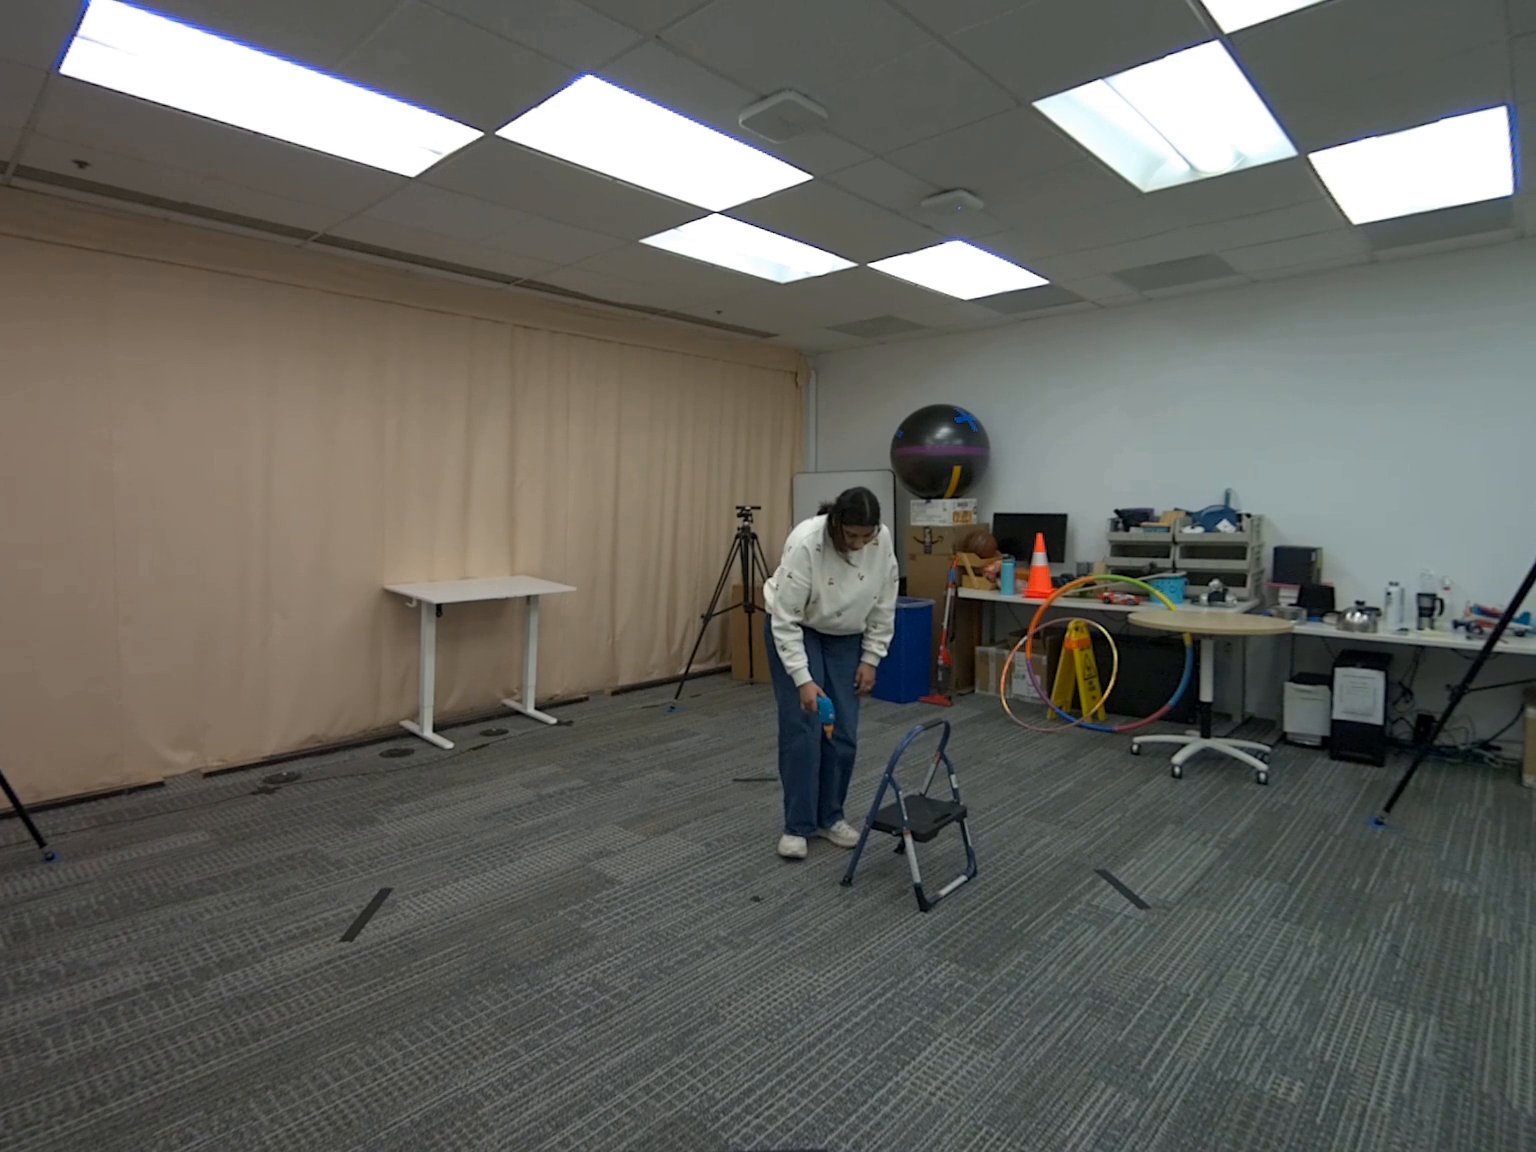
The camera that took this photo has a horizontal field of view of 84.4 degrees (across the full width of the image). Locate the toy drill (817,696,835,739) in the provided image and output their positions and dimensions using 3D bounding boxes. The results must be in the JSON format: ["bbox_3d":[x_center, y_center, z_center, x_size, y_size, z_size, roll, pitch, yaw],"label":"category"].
[{"bbox_3d":[0.204,0.534,3.231,0.060,0.168,0.150,-11,13,-20],"label":"toy drill"}]
